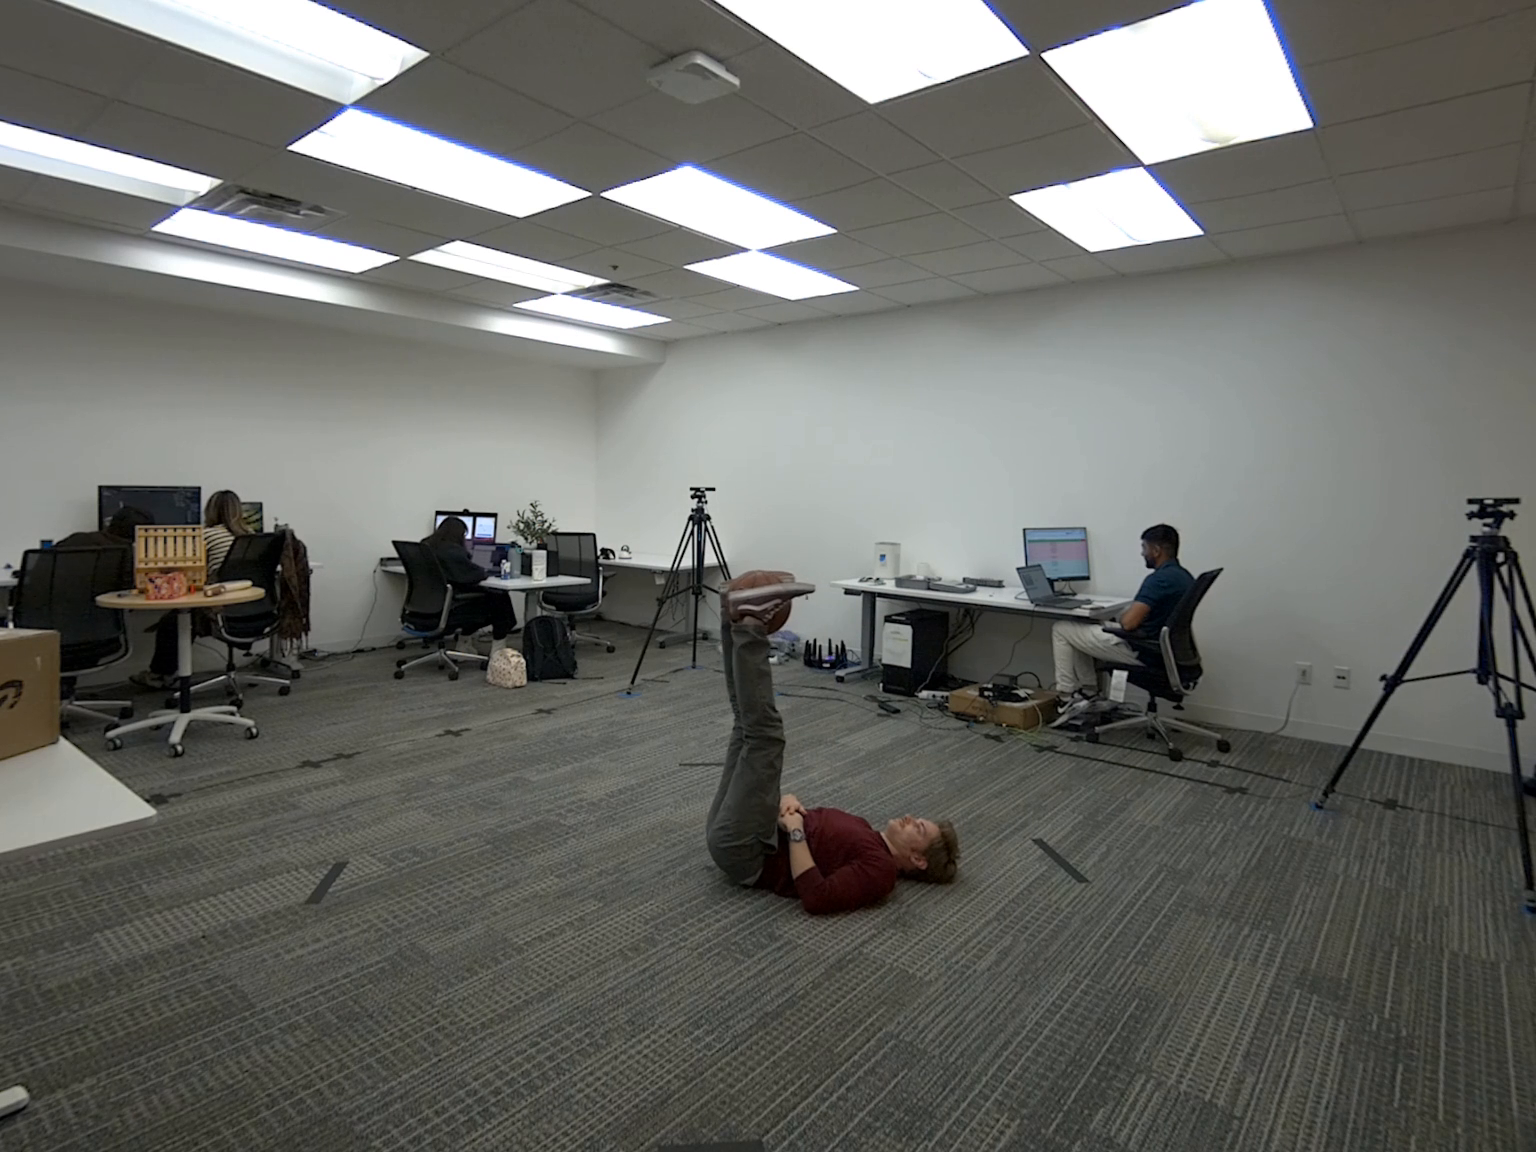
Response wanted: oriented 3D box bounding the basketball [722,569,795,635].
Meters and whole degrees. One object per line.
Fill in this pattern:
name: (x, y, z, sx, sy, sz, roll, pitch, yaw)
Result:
basketball: (-0.041, 0.099, 3.052, 0.236, 0.235, 0.237, -3, 3, -2)
